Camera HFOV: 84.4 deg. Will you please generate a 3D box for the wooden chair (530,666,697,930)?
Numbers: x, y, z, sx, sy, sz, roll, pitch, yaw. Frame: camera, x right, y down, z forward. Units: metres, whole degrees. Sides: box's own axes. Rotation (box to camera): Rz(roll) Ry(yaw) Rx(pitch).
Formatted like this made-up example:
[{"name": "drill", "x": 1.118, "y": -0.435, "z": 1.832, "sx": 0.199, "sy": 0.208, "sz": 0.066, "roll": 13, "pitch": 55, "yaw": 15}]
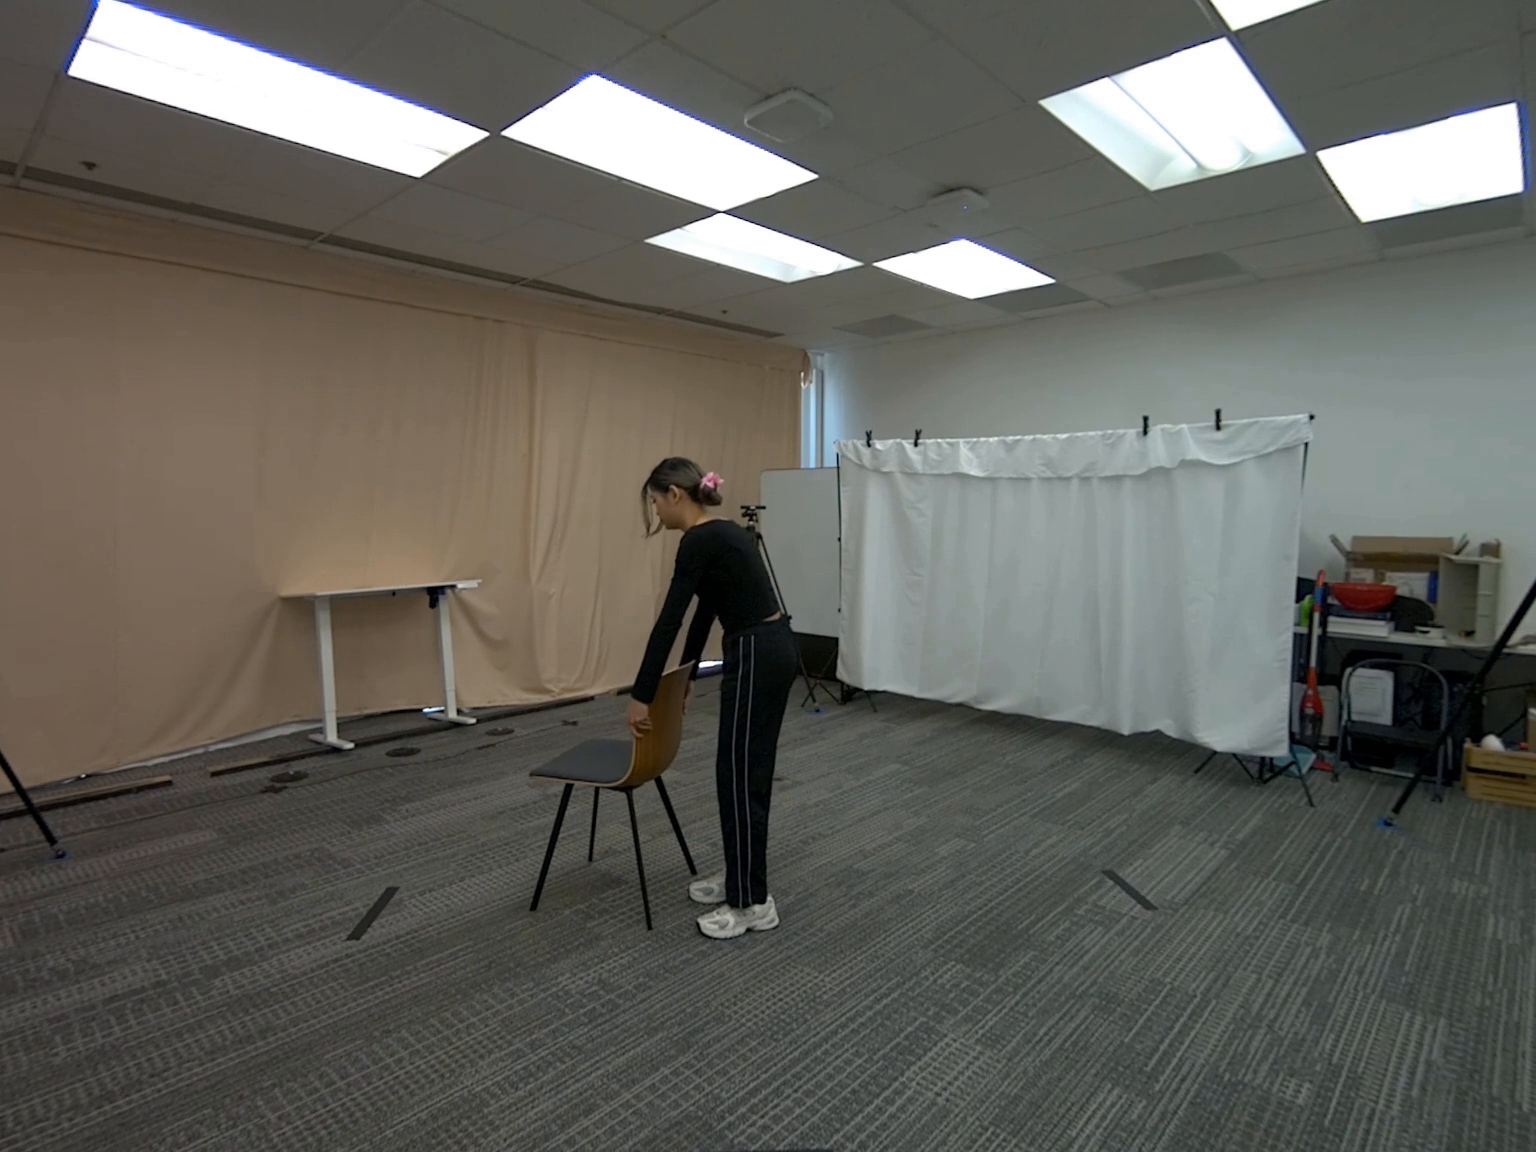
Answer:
[{"name": "wooden chair", "x": -0.551, "y": 0.719, "z": 3.014, "sx": 0.533, "sy": 0.875, "sz": 0.470, "roll": 5, "pitch": 5, "yaw": 16}]
